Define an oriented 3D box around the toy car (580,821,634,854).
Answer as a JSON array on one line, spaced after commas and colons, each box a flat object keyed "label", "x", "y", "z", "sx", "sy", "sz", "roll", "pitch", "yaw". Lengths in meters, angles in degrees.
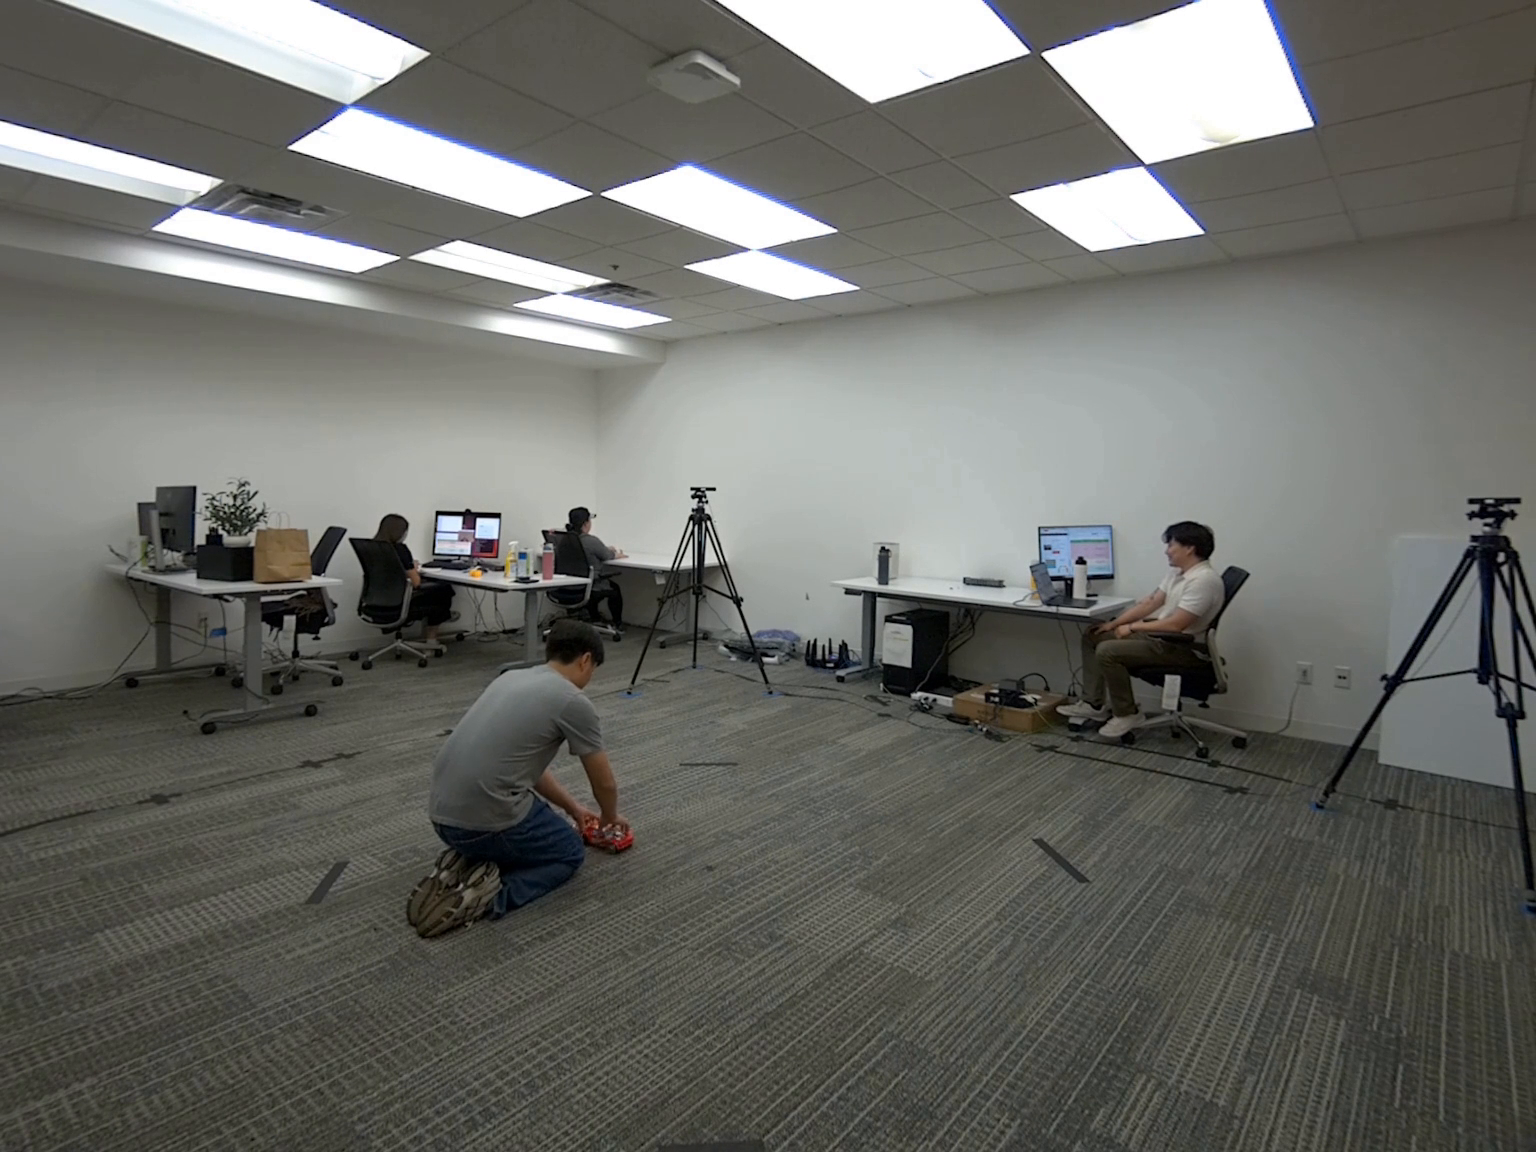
[{"label": "toy car", "x": -0.659, "y": 1.009, "z": 3.308, "sx": 0.263, "sy": 0.082, "sz": 0.127, "roll": 15, "pitch": 11, "yaw": 27}]
